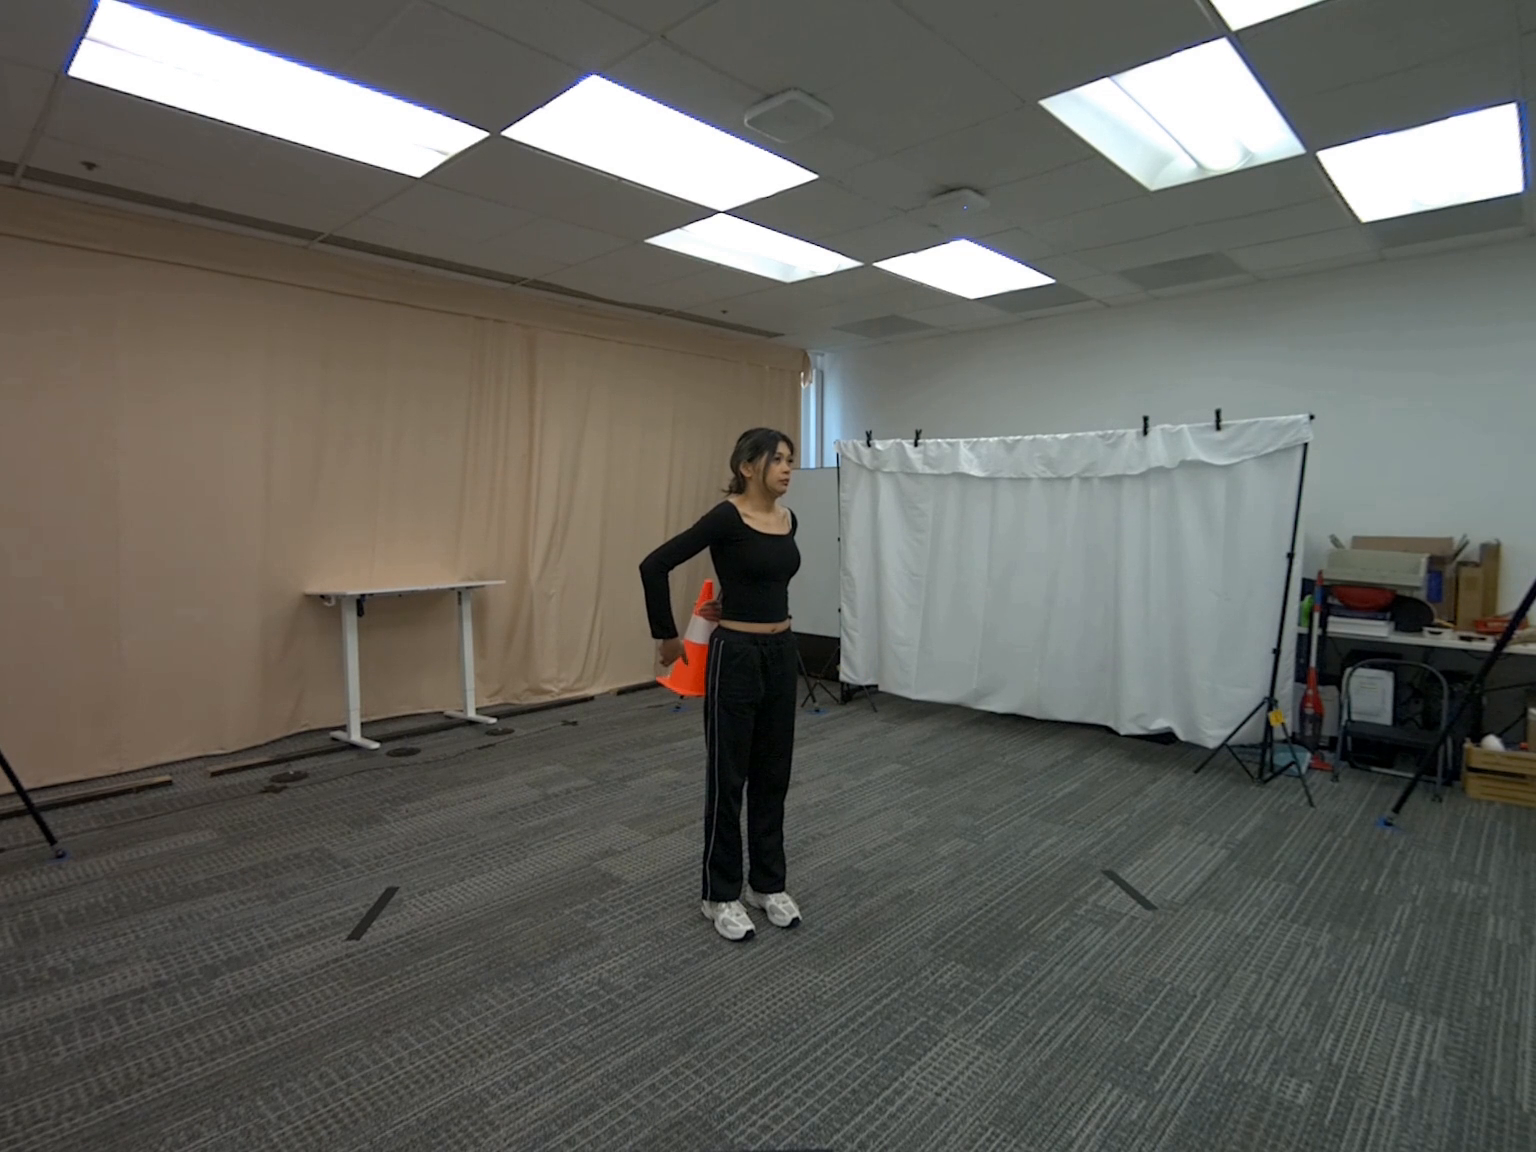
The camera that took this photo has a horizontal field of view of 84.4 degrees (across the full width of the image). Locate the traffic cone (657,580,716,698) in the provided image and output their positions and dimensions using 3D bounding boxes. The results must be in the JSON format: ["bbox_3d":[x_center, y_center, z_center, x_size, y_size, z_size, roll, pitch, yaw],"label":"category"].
[{"bbox_3d":[-0.238,0.207,2.930,0.210,0.382,0.198,13,10,43],"label":"traffic cone"}]
